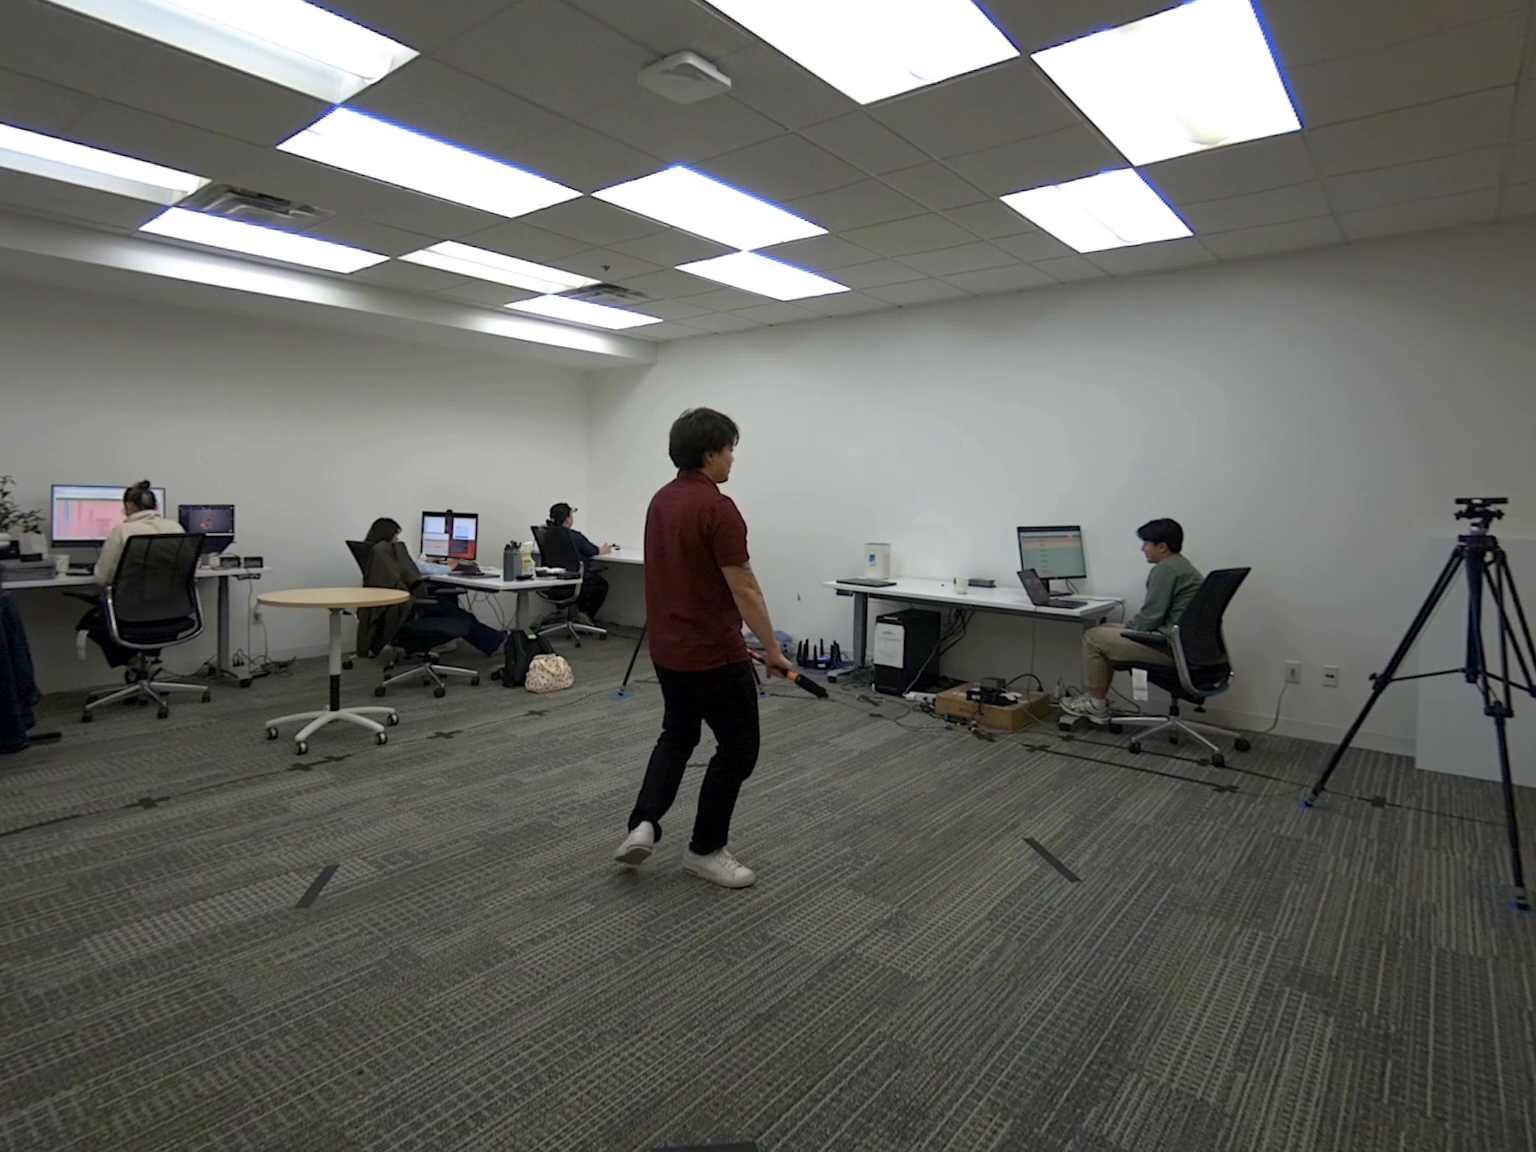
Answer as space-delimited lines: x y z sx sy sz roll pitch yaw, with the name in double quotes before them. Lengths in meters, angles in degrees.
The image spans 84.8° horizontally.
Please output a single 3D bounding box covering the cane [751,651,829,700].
"cane" -0.064 0.299 3.078 0.199 0.152 0.938 35 -8 -29
